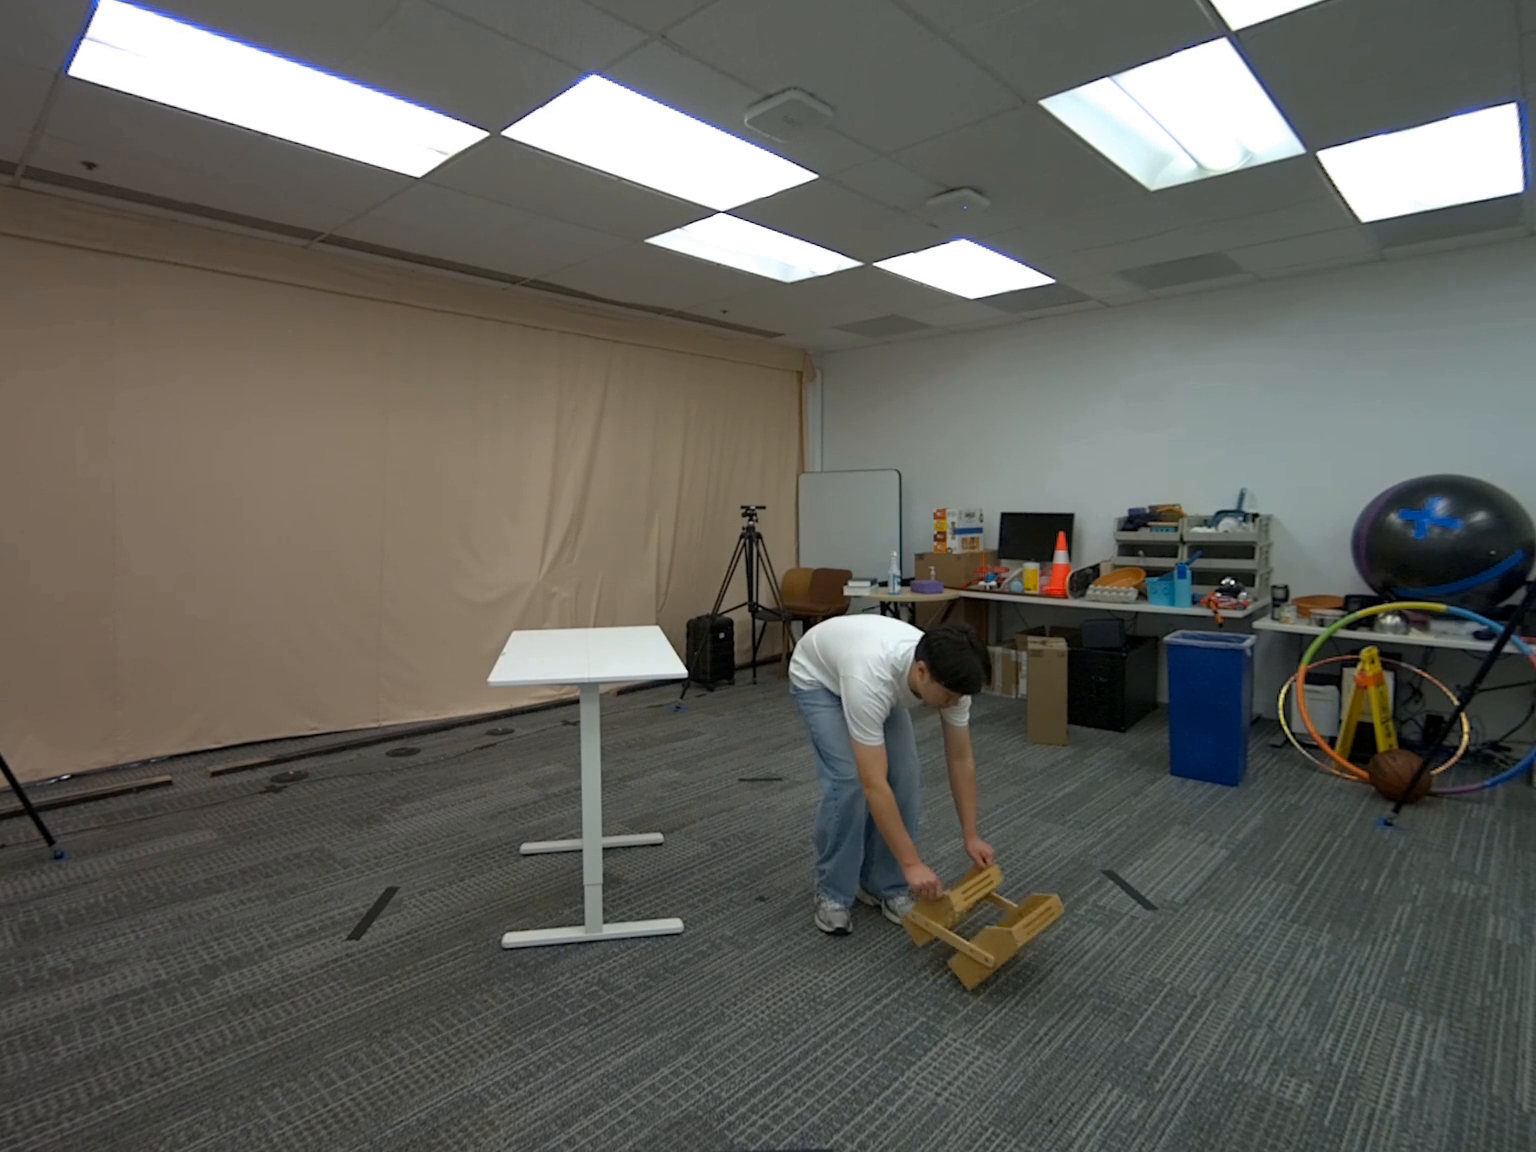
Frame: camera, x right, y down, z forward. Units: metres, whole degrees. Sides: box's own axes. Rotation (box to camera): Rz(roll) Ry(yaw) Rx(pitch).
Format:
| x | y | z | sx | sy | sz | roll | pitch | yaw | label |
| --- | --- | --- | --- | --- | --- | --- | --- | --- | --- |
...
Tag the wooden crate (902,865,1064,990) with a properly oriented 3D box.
| x | y | z | sx | sy | sz | roll | pitch | yaw | label |
| --- | --- | --- | --- | --- | --- | --- | --- | --- | --- |
| 0.636 | 0.994 | 2.528 | 0.314 | 0.302 | 0.282 | -3 | 43 | -45 | wooden crate |
